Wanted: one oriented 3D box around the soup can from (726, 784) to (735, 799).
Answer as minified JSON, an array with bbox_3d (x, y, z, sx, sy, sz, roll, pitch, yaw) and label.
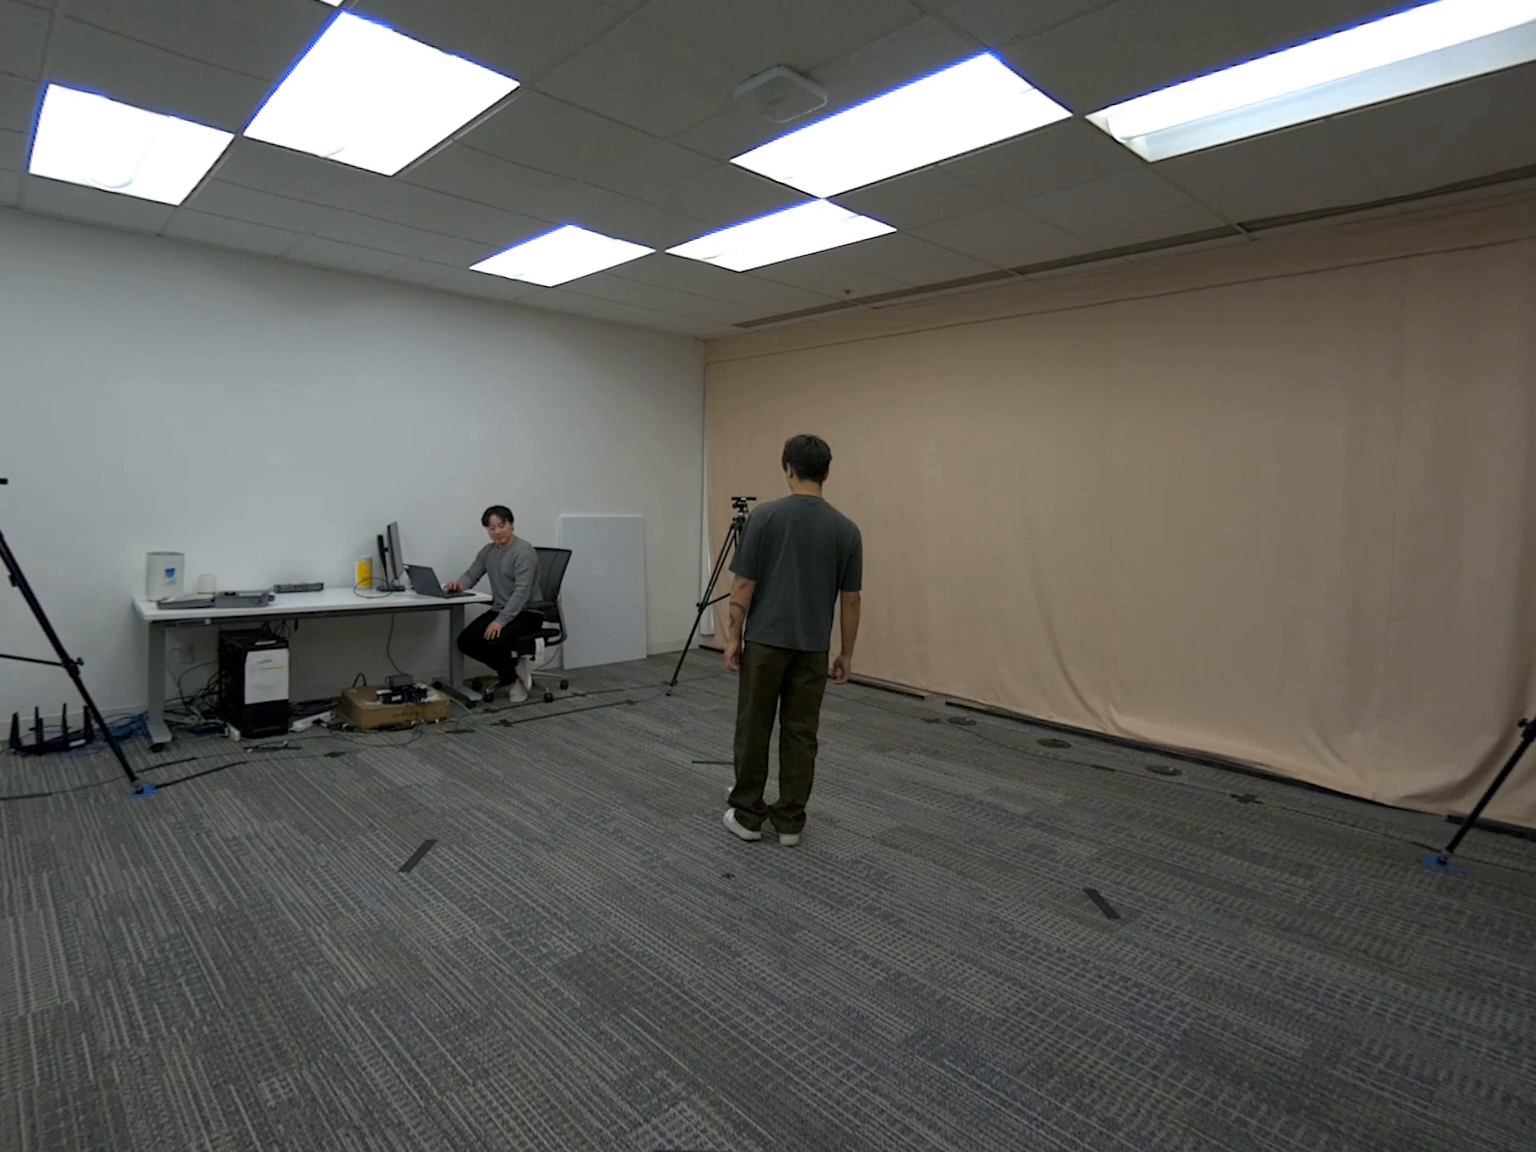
[{"bbox_3d":[-0.140,1.008,3.893,0.120,0.067,0.068,2,4,-19],"label":"soup can"}]
